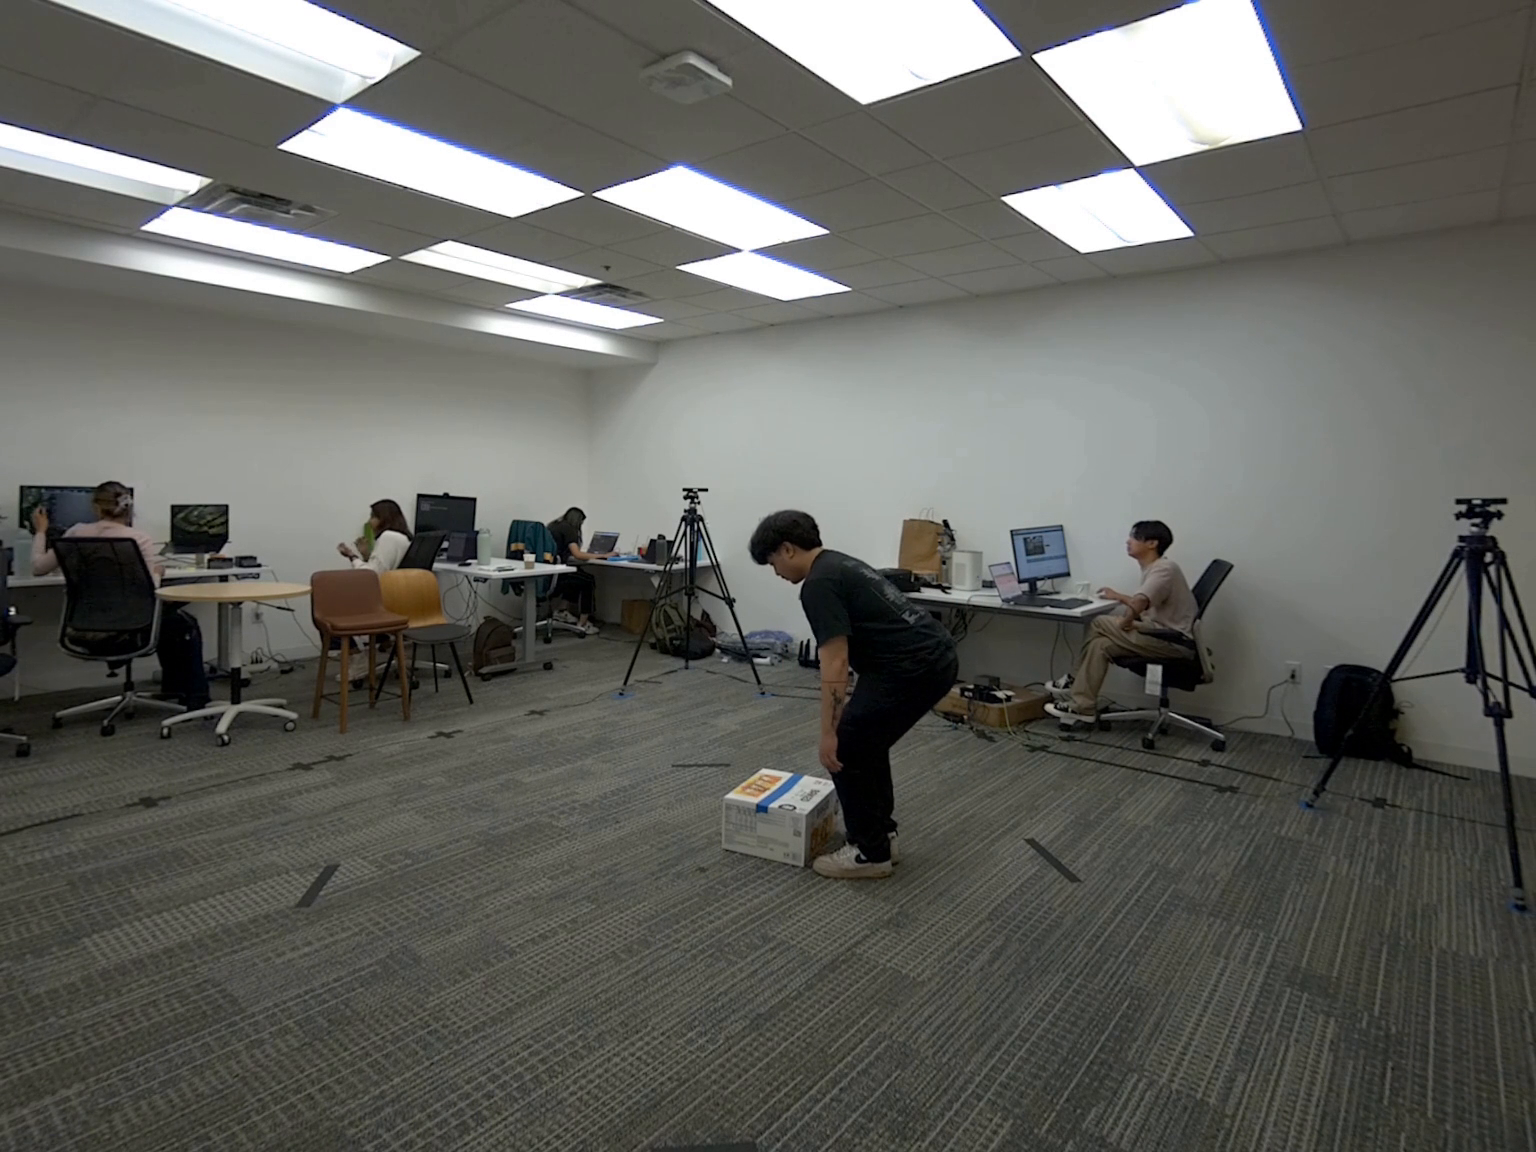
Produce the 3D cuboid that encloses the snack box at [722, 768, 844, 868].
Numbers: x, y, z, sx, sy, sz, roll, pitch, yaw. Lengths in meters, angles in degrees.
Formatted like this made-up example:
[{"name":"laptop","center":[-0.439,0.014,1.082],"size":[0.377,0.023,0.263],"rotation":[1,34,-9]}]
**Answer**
[{"name":"snack box","center":[0.047,0.944,3.381],"size":[0.349,0.205,0.396],"rotation":[4,5,24]}]
